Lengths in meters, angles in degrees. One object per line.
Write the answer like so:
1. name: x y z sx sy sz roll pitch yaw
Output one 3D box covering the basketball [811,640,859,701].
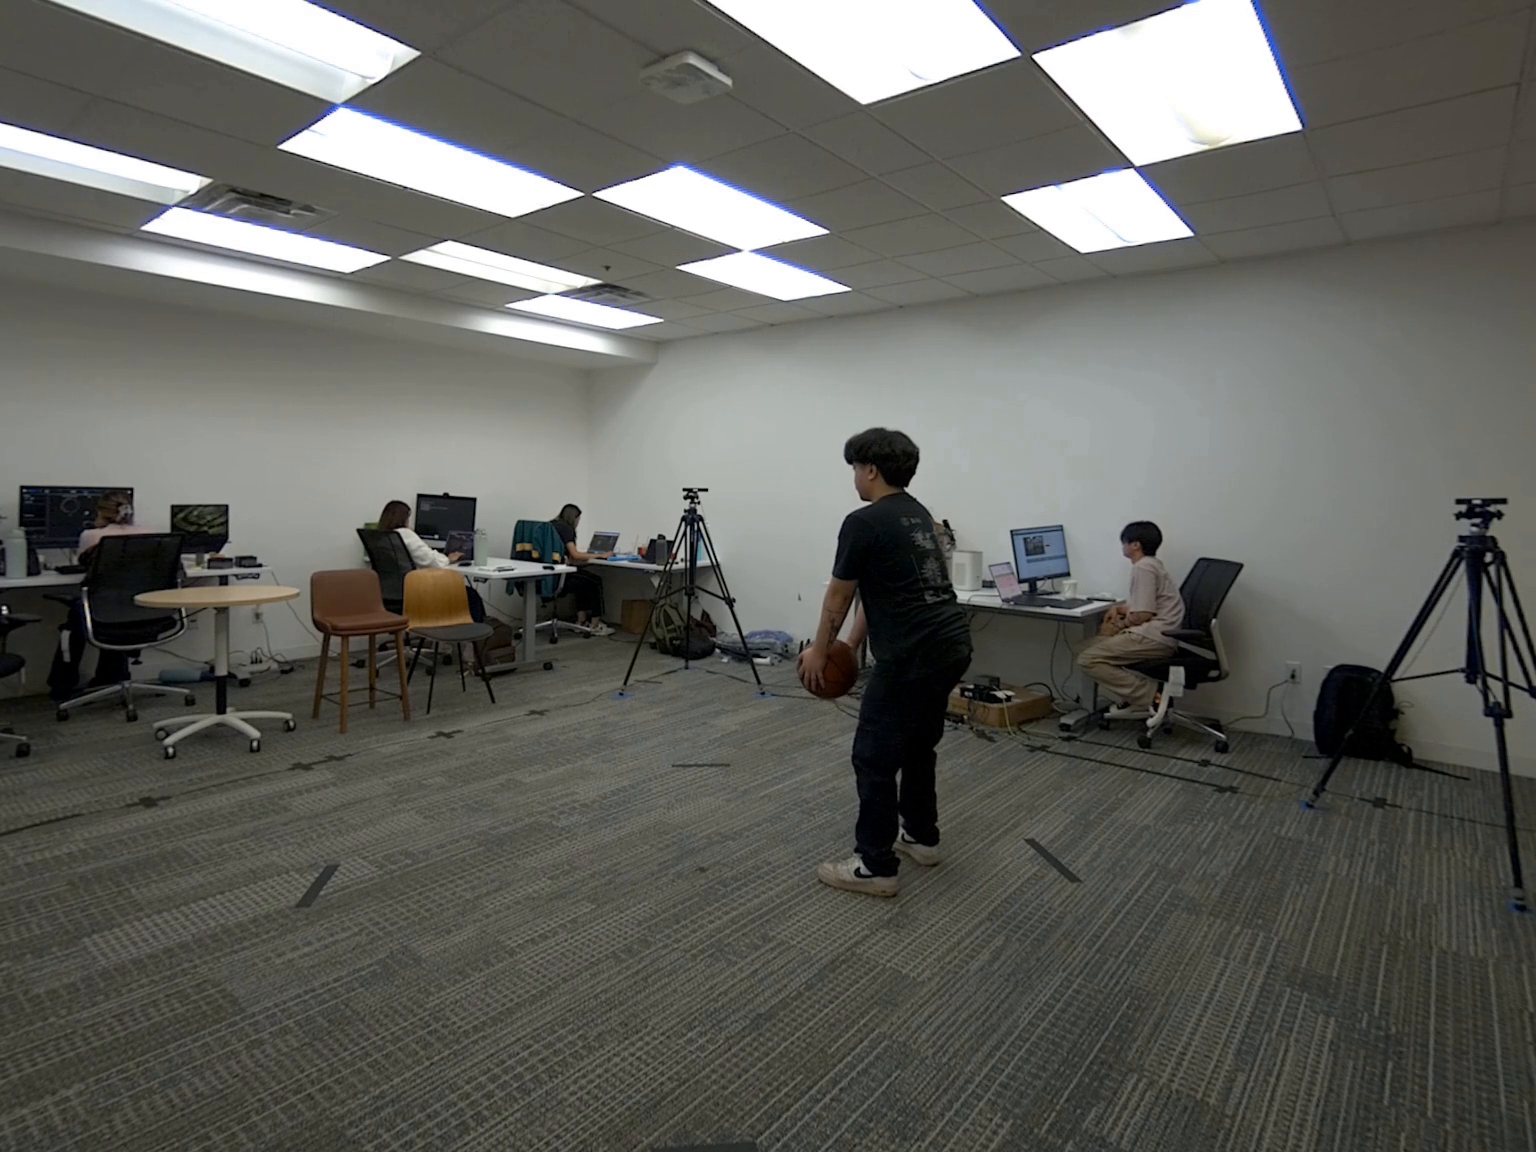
1. basketball: 0.226 0.353 3.315 0.235 0.235 0.237 1 4 -2
